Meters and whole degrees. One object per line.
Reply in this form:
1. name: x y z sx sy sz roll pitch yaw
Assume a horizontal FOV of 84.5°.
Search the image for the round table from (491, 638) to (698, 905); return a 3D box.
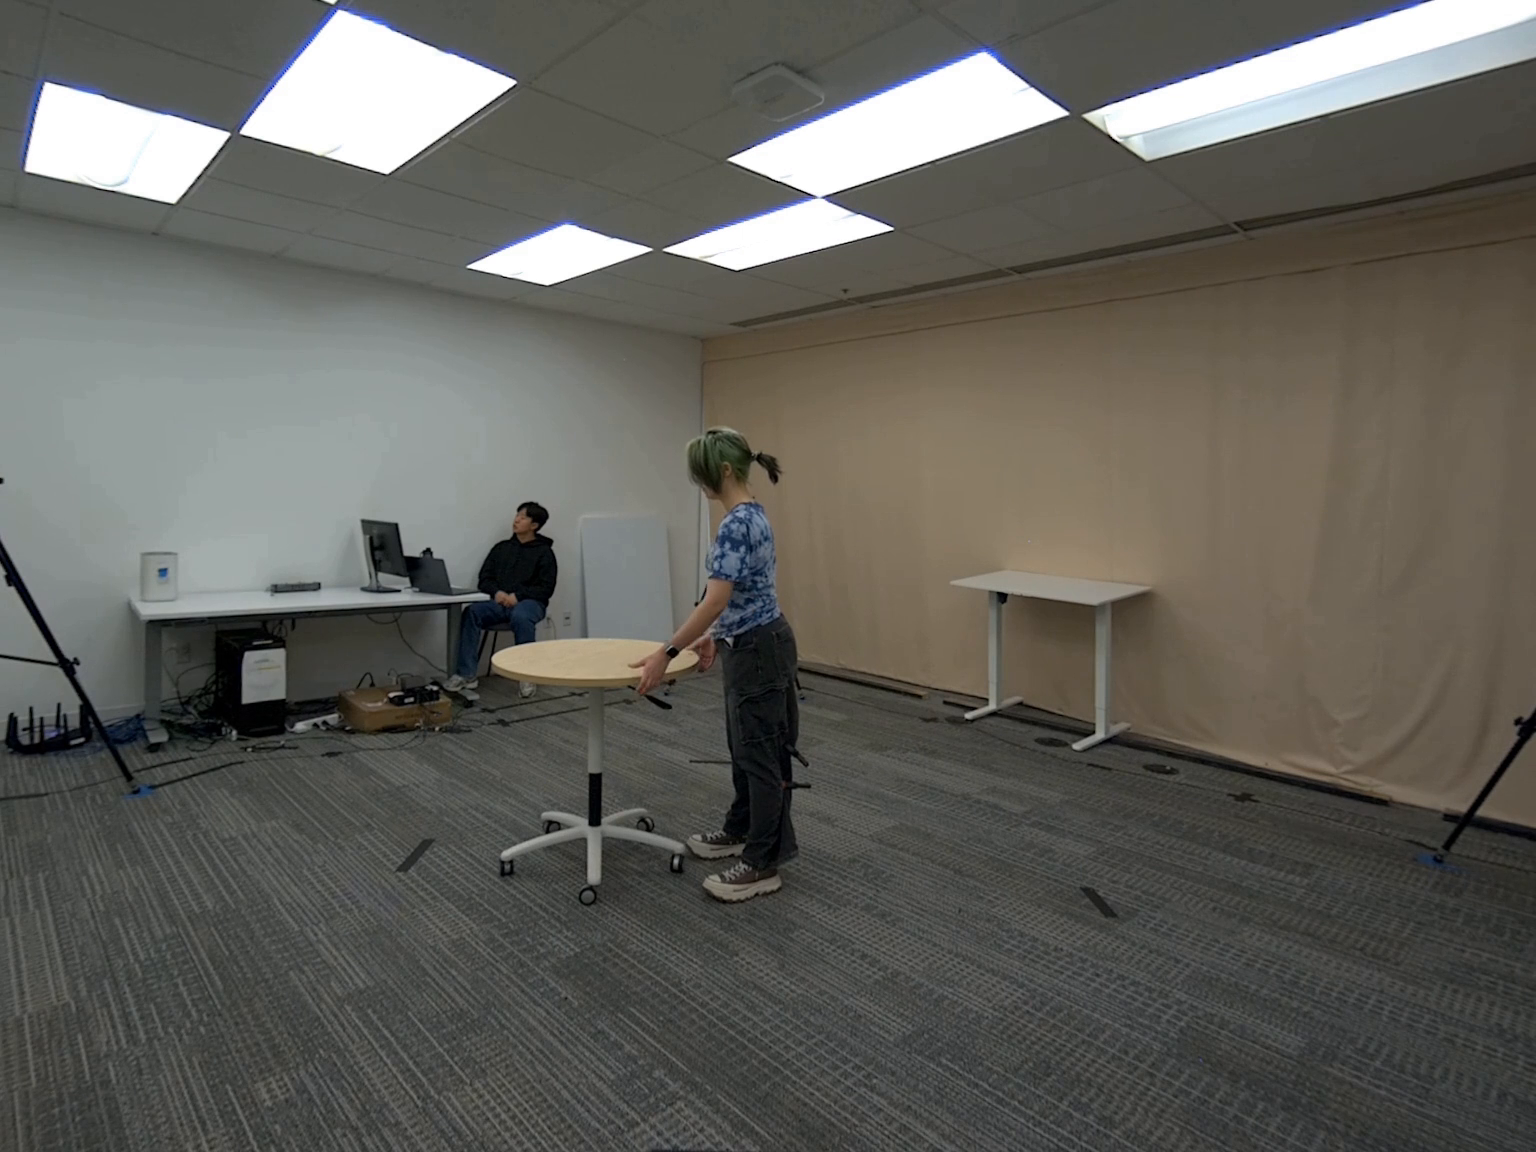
1. round table: -0.652 0.696 3.182 0.763 0.792 0.766 1 4 -1
